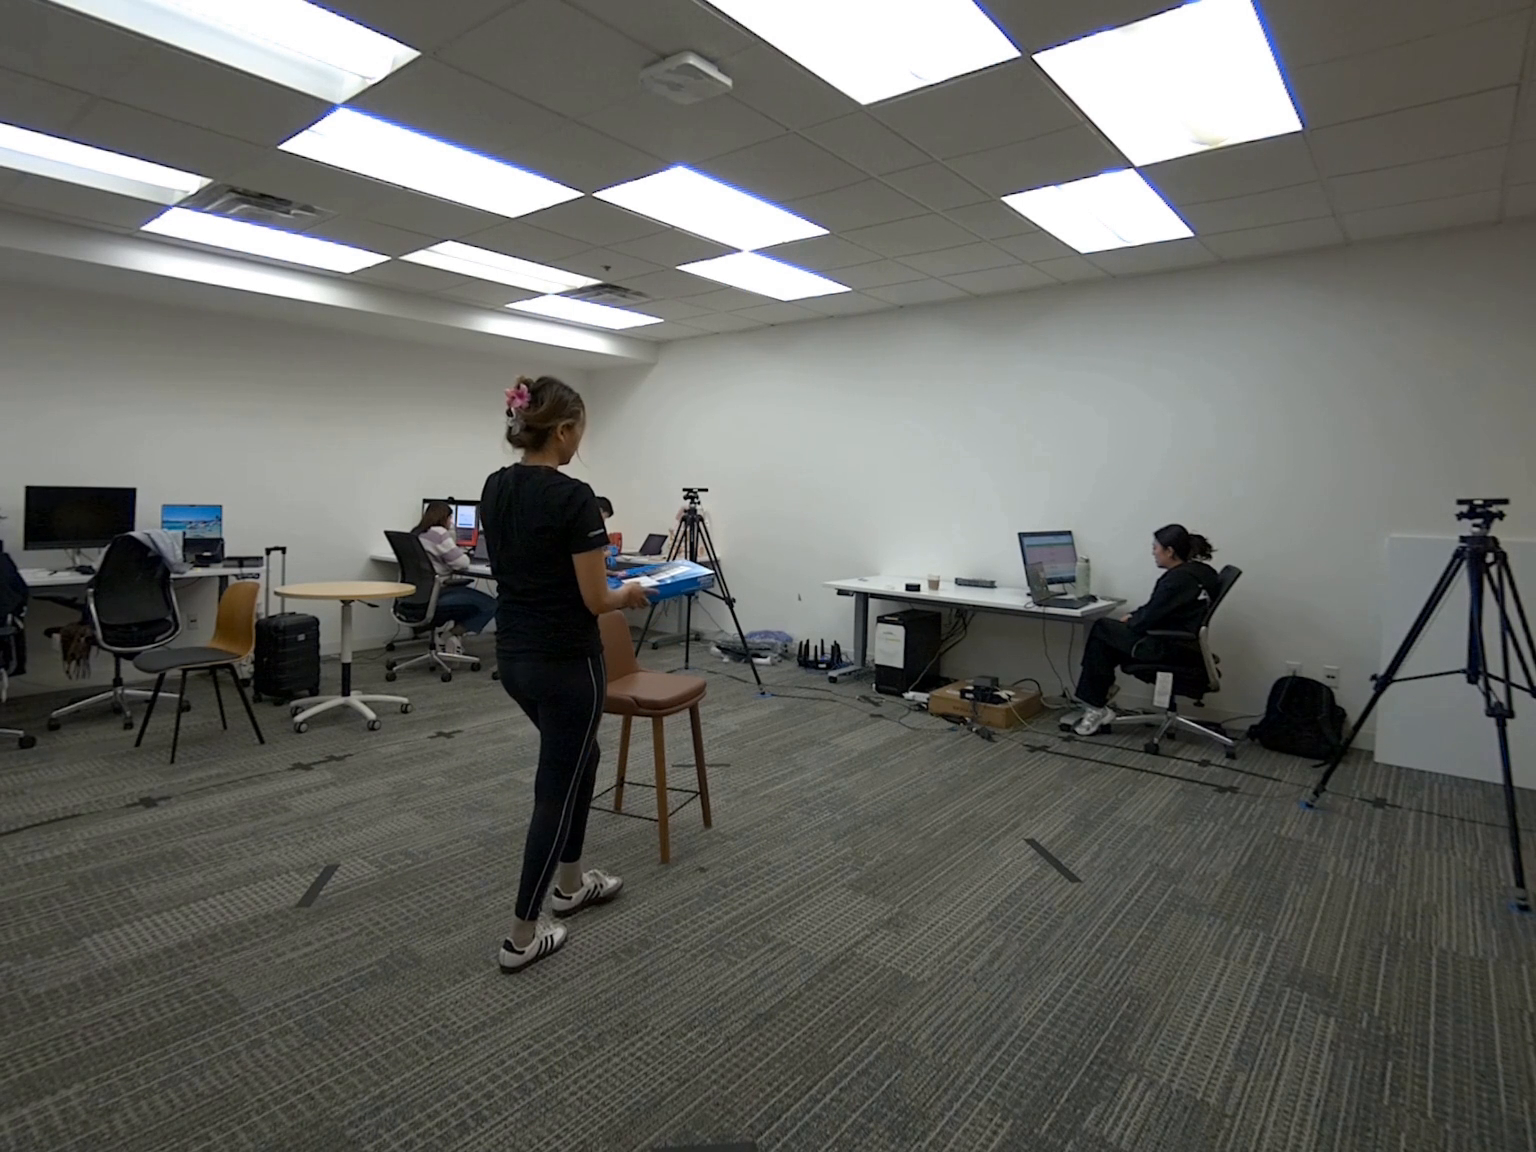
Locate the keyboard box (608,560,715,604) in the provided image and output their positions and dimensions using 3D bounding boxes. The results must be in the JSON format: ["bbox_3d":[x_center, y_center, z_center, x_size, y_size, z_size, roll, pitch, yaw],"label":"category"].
[{"bbox_3d":[-0.397,0.027,2.879,0.426,0.058,0.183,-14,25,-42],"label":"keyboard box"}]
